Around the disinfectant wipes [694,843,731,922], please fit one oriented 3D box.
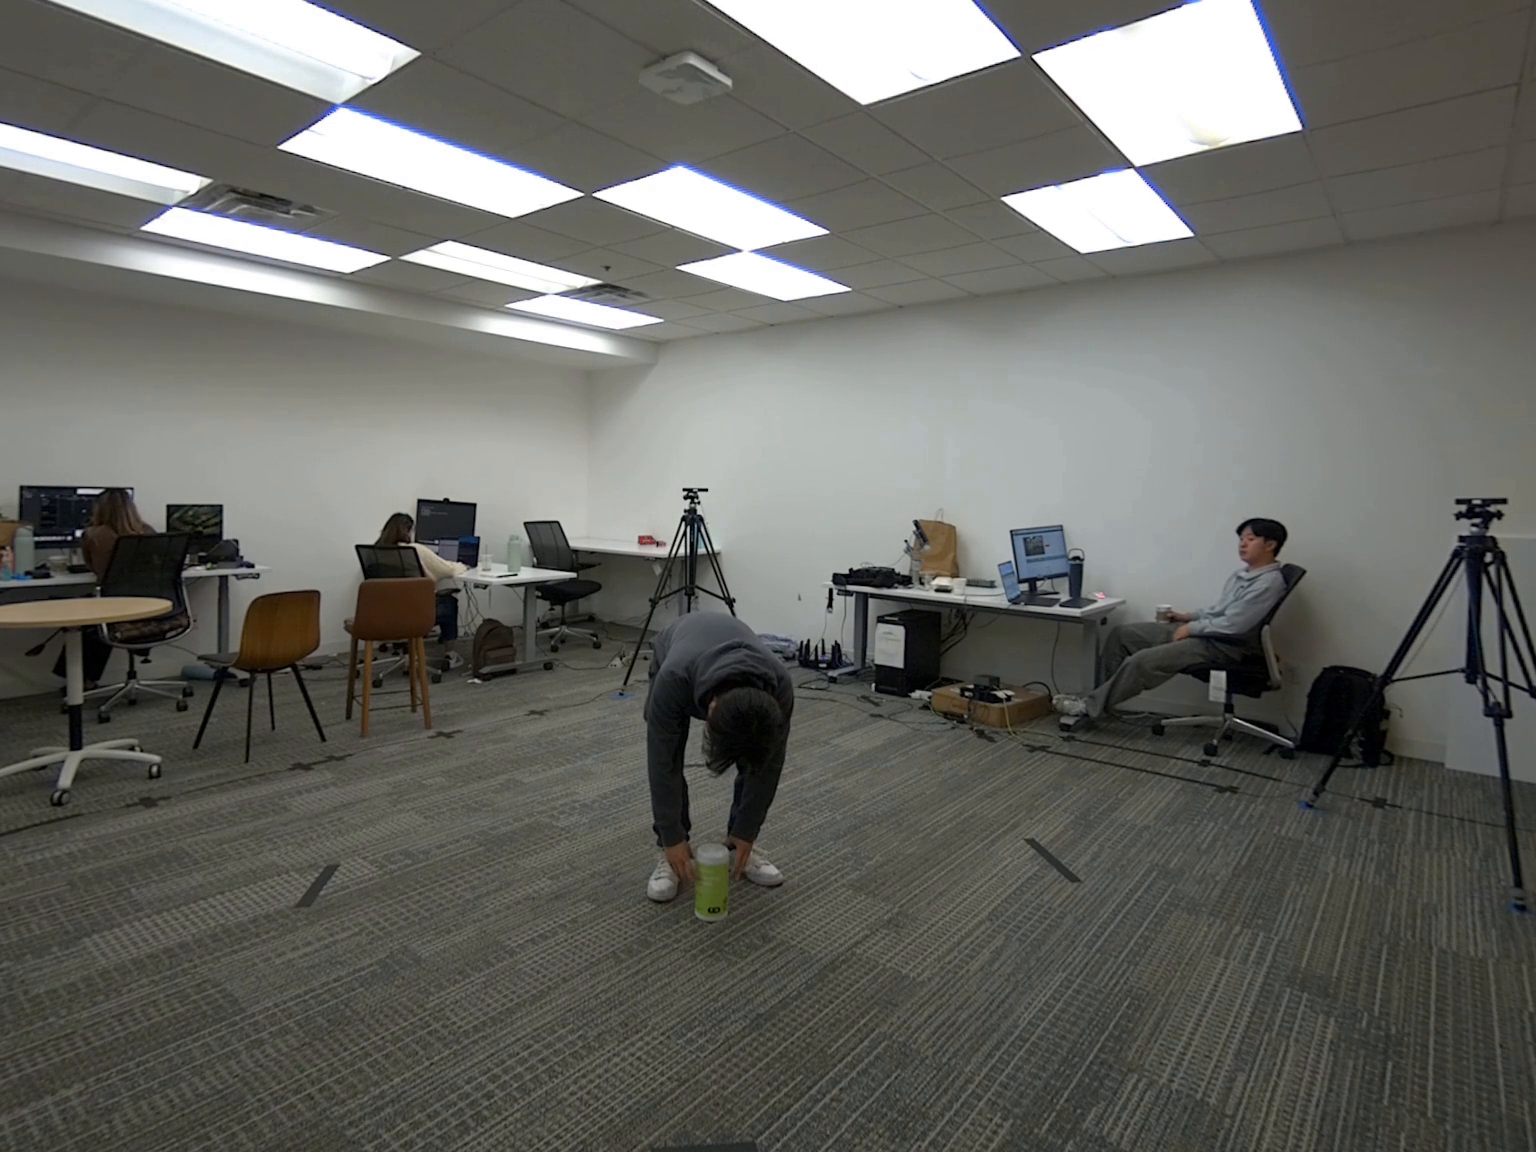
[{"bbox_3d":[-0.199,0.998,2.772,0.118,0.217,0.118,-2,4,-2],"label":"disinfectant wipes"}]
